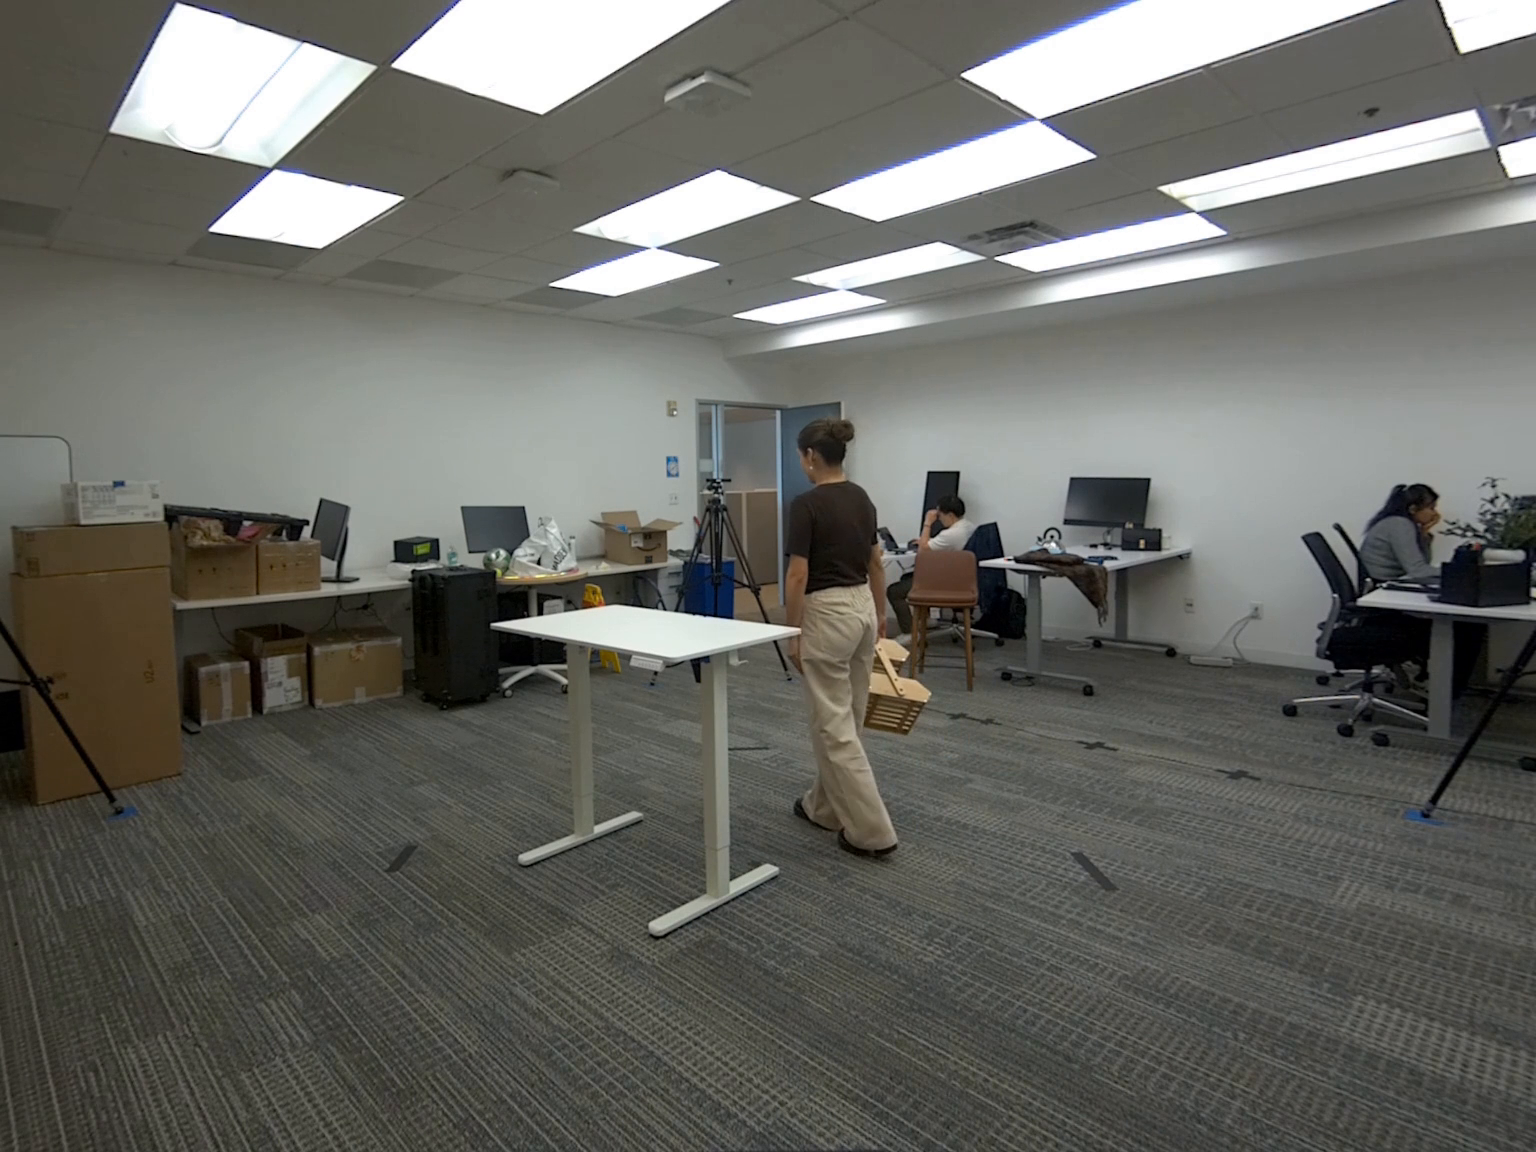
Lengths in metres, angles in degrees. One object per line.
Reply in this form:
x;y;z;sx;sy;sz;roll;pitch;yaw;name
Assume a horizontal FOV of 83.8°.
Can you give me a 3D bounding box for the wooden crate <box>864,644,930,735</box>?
0.500;0.460;3.583;0.303;0.278;0.317;12;-37;1;wooden crate
